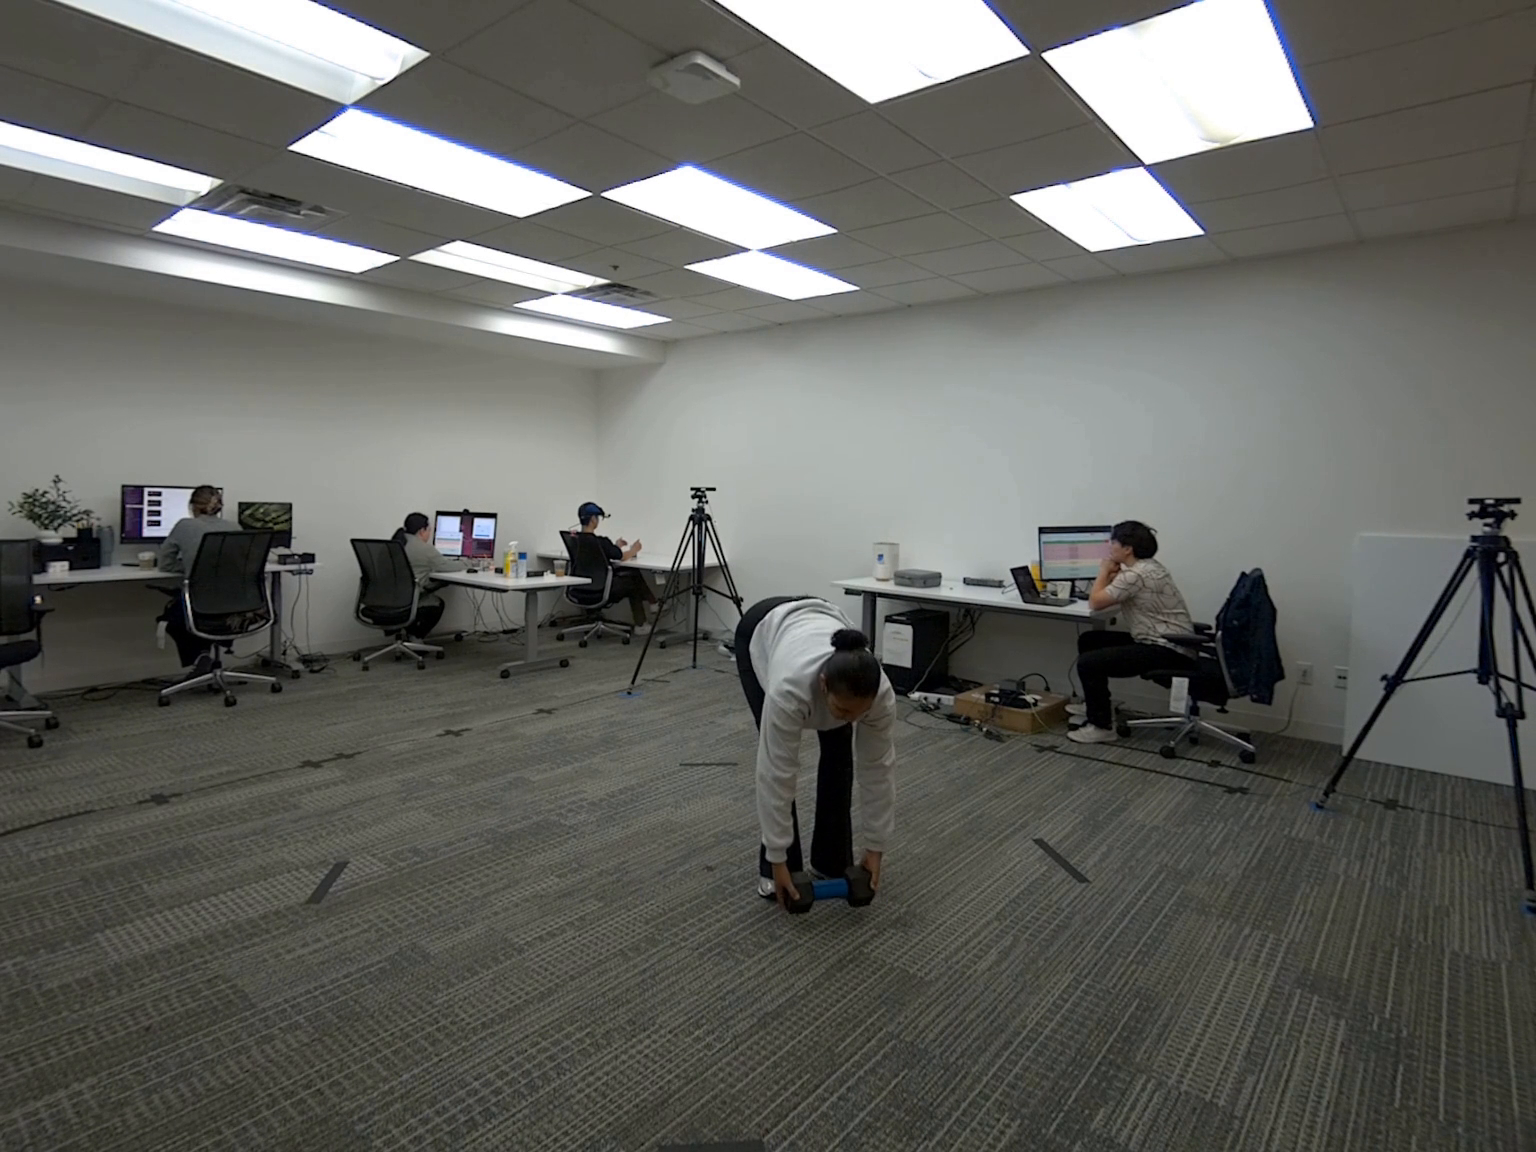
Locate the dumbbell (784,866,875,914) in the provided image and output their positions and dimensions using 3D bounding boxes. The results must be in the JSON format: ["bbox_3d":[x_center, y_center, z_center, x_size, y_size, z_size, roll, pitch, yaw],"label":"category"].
[{"bbox_3d":[0.191,0.997,2.749,0.289,0.108,0.126,-1,9,-16],"label":"dumbbell"}]
